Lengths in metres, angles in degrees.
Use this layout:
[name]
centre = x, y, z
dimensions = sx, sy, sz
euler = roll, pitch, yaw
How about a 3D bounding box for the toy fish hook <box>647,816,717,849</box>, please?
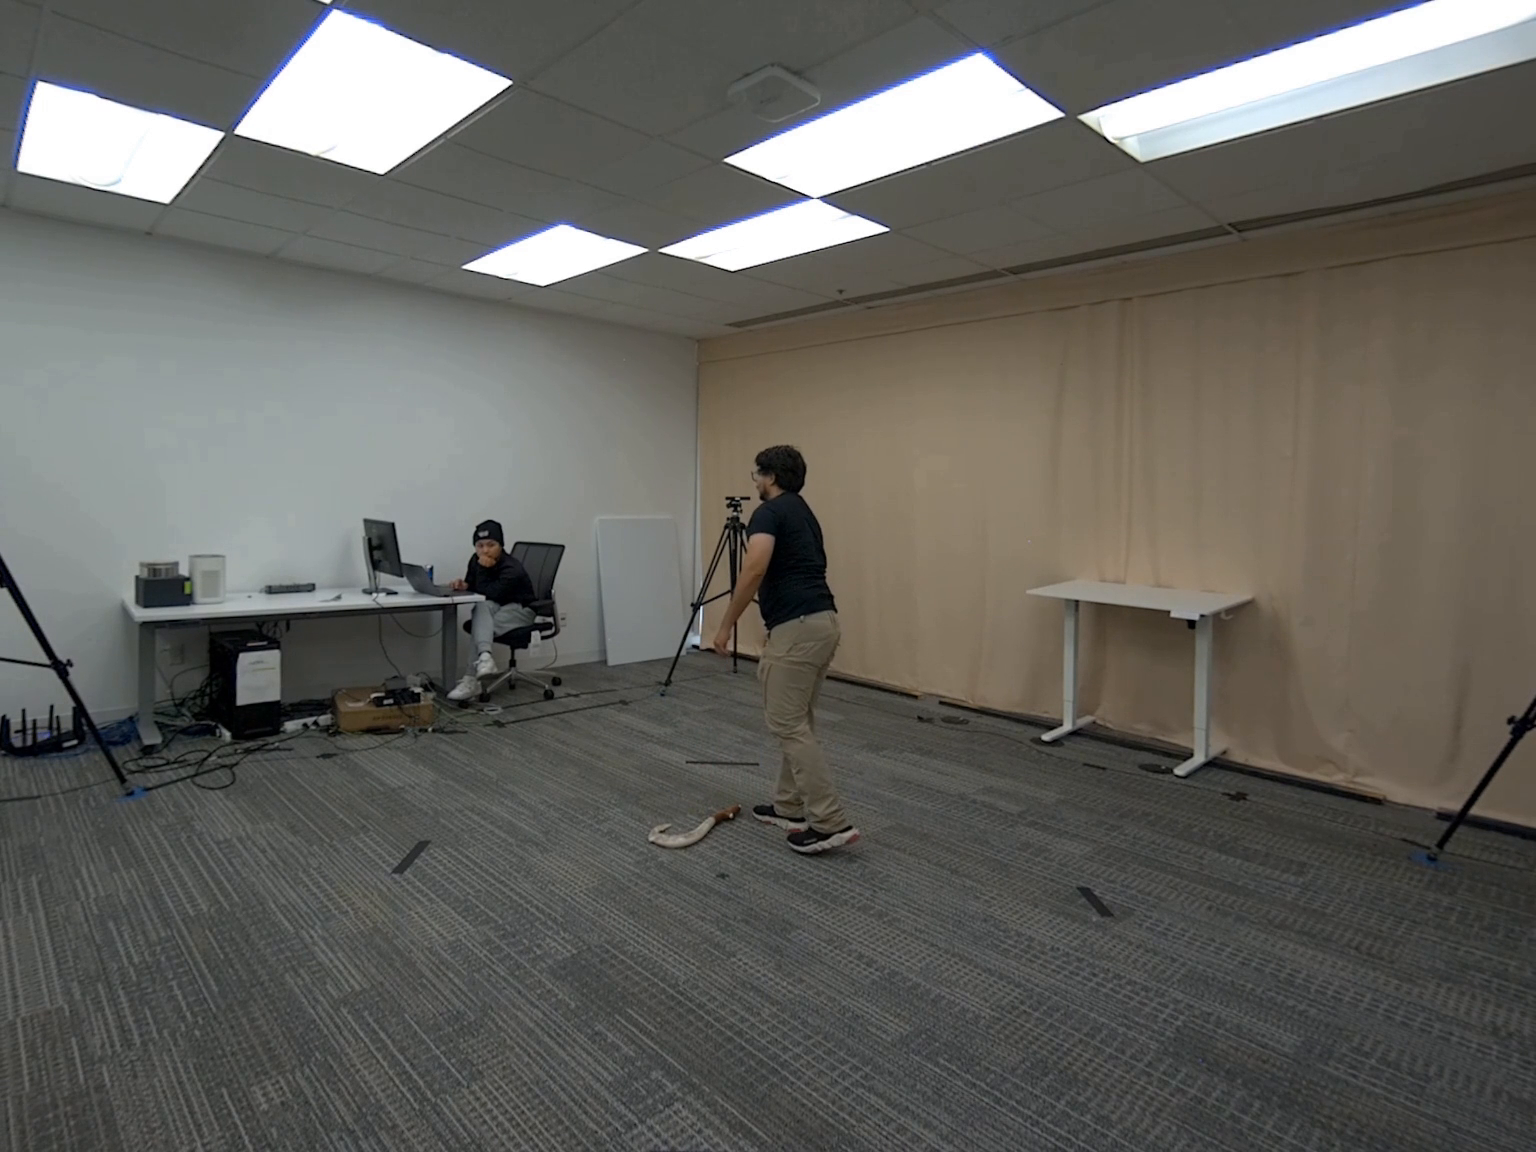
[toy fish hook]
centre = -0.313, 1.040, 3.558
dimensions = 0.230, 0.048, 0.496
euler = 6, 6, 32
